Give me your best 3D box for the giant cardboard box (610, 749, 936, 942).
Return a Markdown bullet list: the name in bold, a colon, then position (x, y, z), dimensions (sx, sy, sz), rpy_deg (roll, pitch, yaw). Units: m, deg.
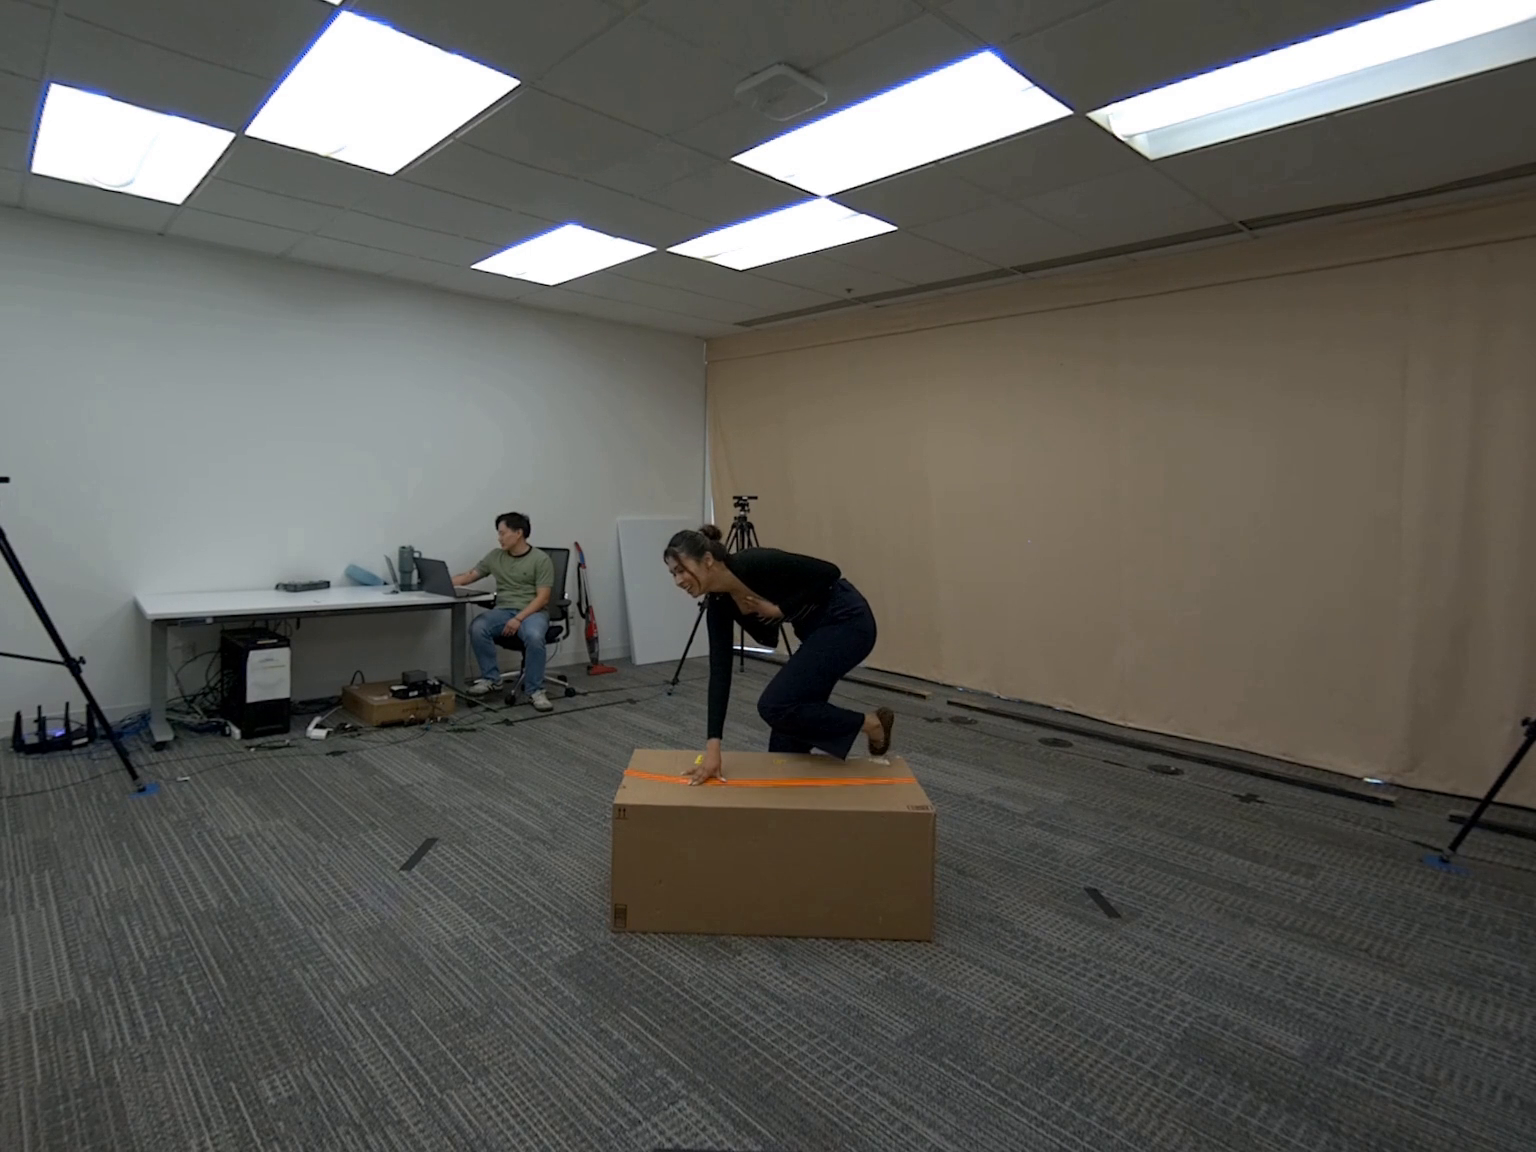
- **giant cardboard box**: position (0.000, 0.908, 2.933), dimensions (1.026, 0.425, 0.579), rpy_deg (1, 4, 0)
